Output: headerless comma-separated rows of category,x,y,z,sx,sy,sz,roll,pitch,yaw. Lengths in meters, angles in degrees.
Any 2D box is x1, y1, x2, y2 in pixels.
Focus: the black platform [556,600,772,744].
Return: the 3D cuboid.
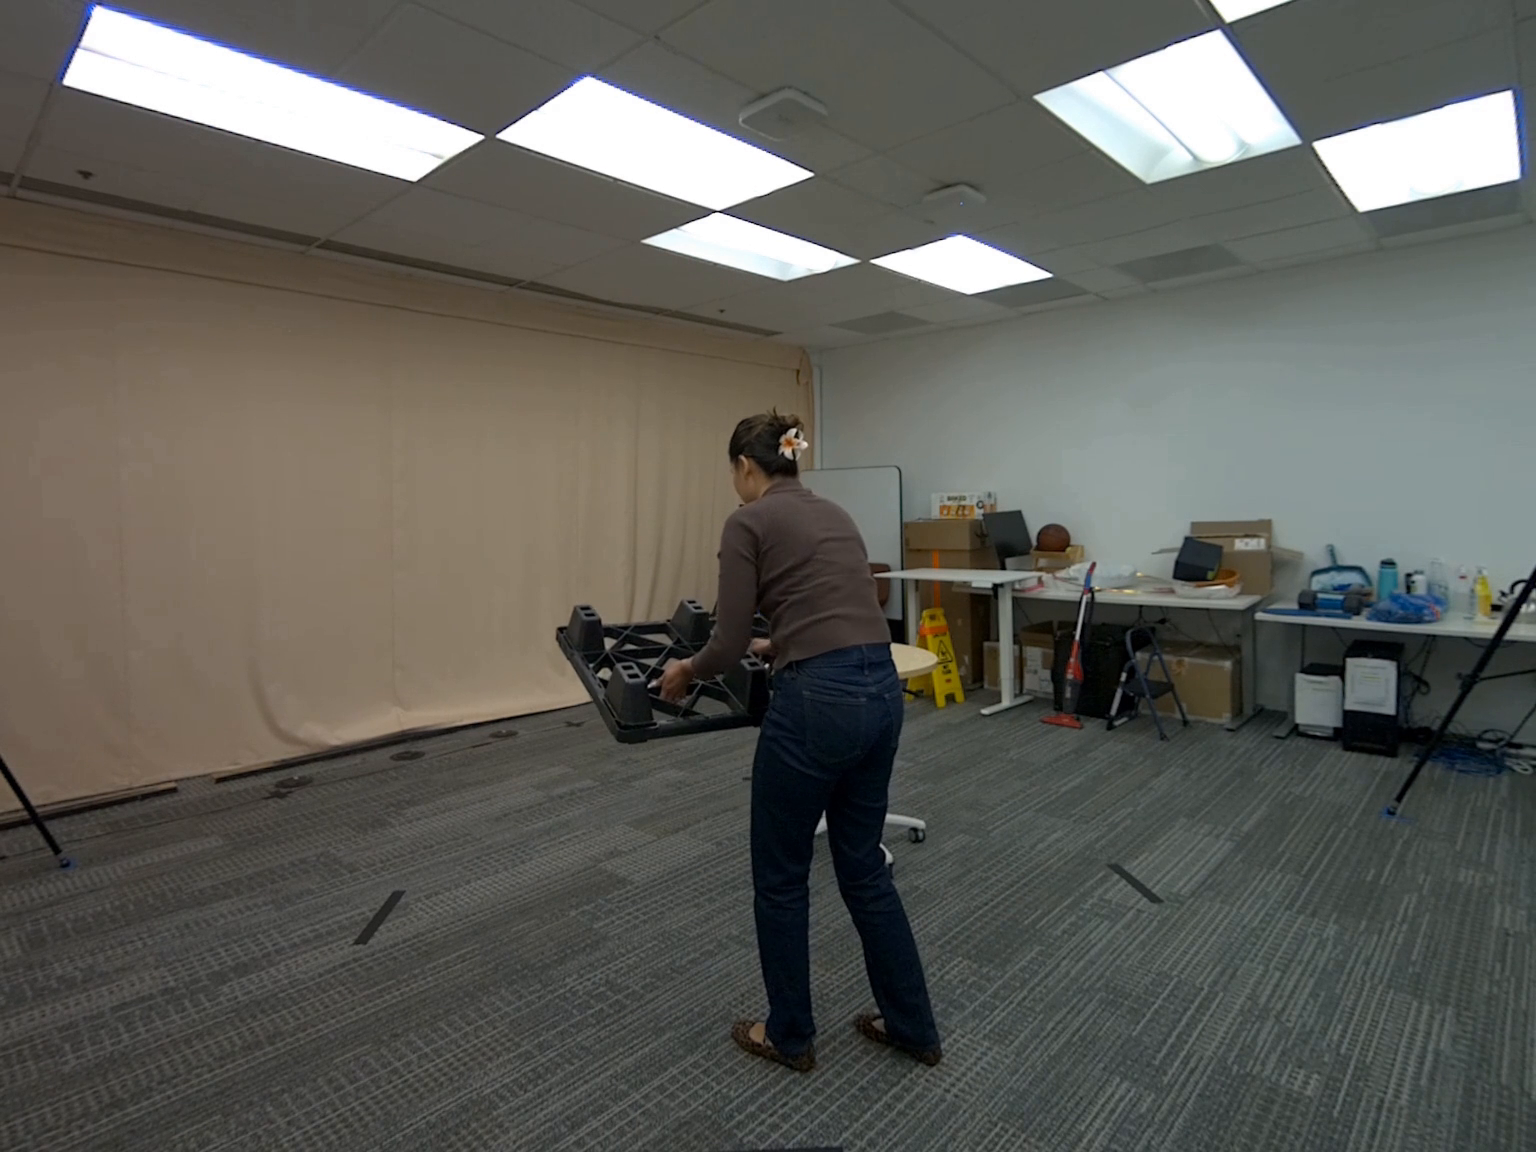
black platform,-0.142,0.226,2.426,0.785,0.142,0.626,-3,22,-28
